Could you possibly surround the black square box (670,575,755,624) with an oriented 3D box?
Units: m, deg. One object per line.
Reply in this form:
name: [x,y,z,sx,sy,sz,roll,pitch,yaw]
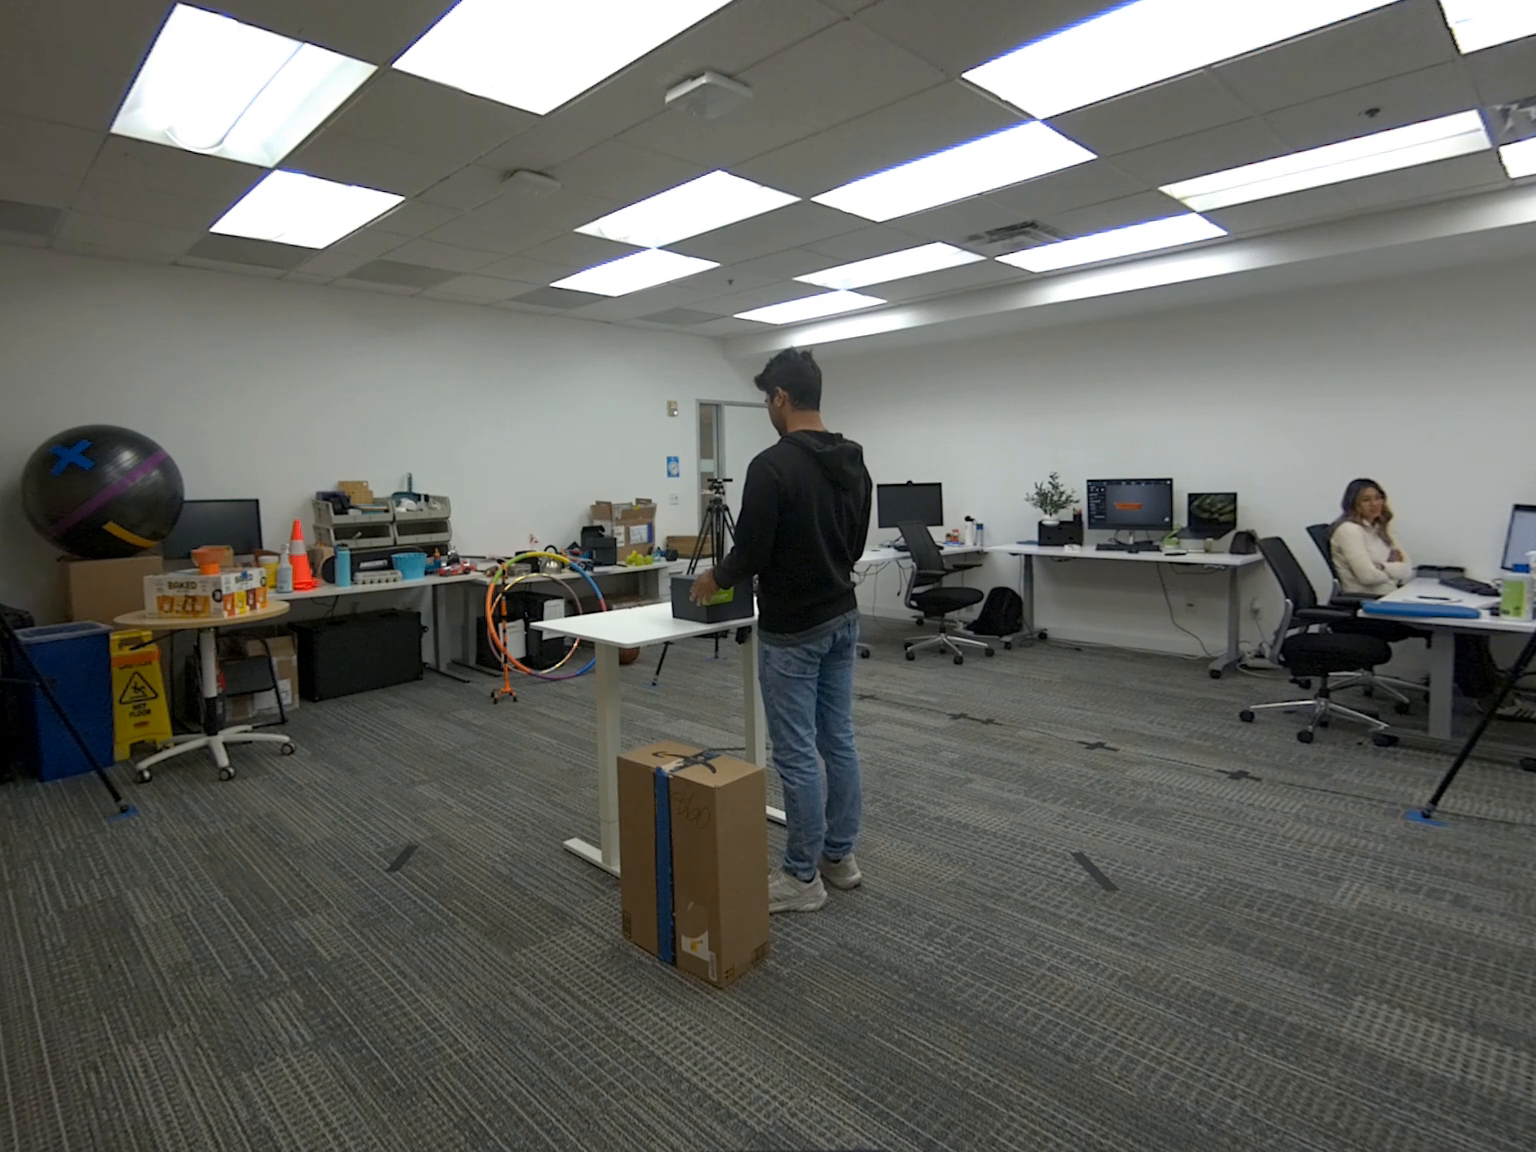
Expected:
black square box: [-0.207,0.075,3.191,0.222,0.155,0.223,-6,7,-41]
